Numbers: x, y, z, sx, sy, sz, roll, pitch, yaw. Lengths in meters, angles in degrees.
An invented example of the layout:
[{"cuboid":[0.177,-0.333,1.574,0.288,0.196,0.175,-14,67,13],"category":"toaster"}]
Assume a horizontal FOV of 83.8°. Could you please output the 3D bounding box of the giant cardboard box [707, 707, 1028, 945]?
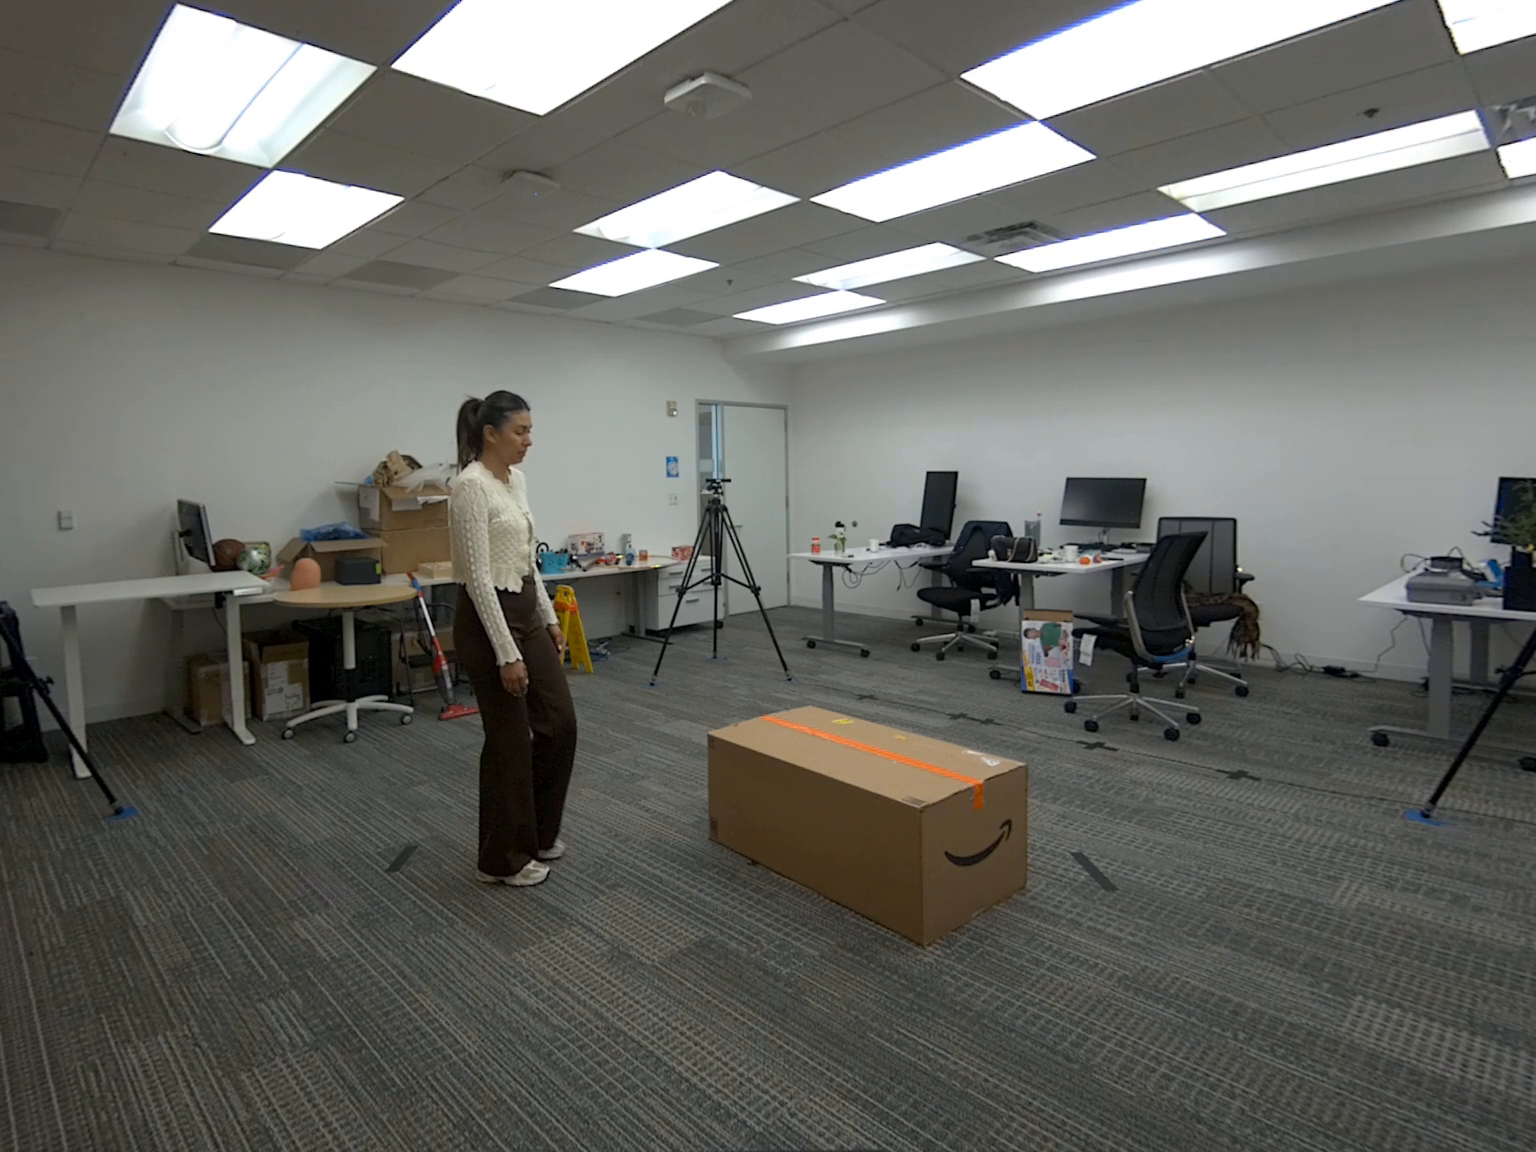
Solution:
[{"cuboid":[0.322,0.824,3.091,0.562,0.424,1.057,-5,7,-41],"category":"giant cardboard box"}]
